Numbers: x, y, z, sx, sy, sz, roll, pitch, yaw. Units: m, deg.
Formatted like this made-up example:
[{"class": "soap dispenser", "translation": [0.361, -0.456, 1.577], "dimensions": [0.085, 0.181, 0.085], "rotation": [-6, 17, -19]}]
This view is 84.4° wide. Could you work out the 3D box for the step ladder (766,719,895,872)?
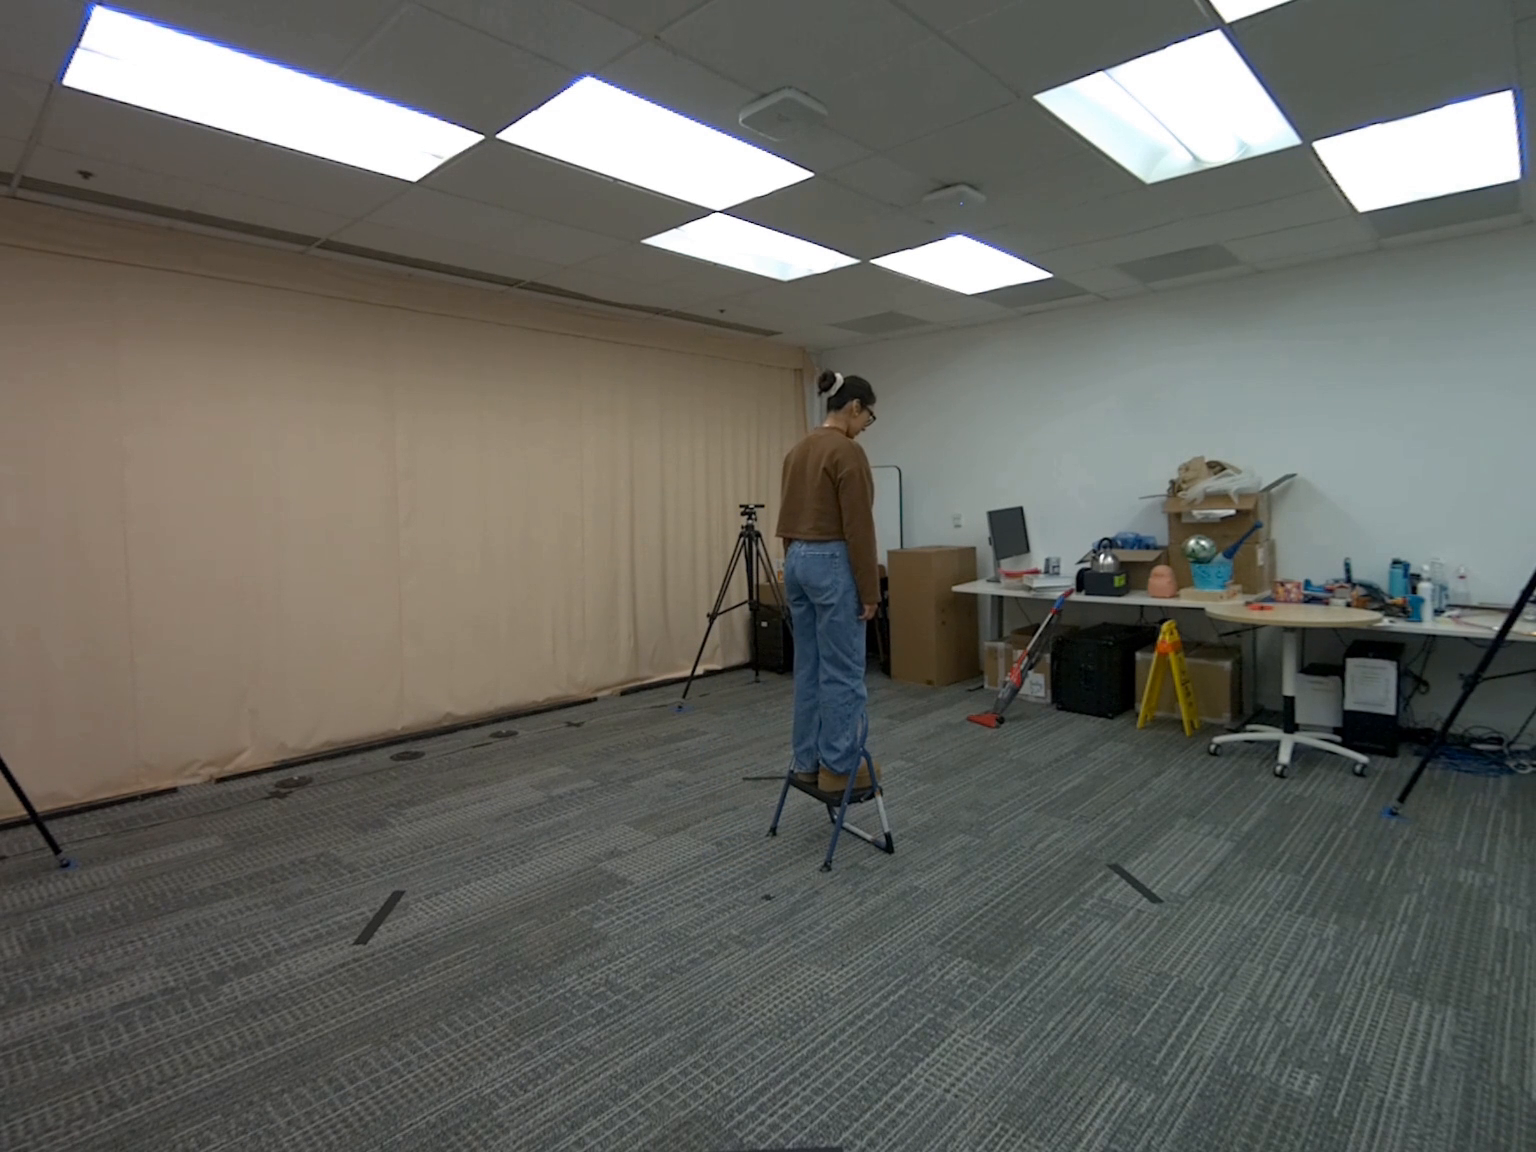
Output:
[{"class": "step ladder", "translation": [0.255, 0.794, 3.431], "dimensions": [0.340, 0.605, 0.443], "rotation": [-2, 2, -31]}]
